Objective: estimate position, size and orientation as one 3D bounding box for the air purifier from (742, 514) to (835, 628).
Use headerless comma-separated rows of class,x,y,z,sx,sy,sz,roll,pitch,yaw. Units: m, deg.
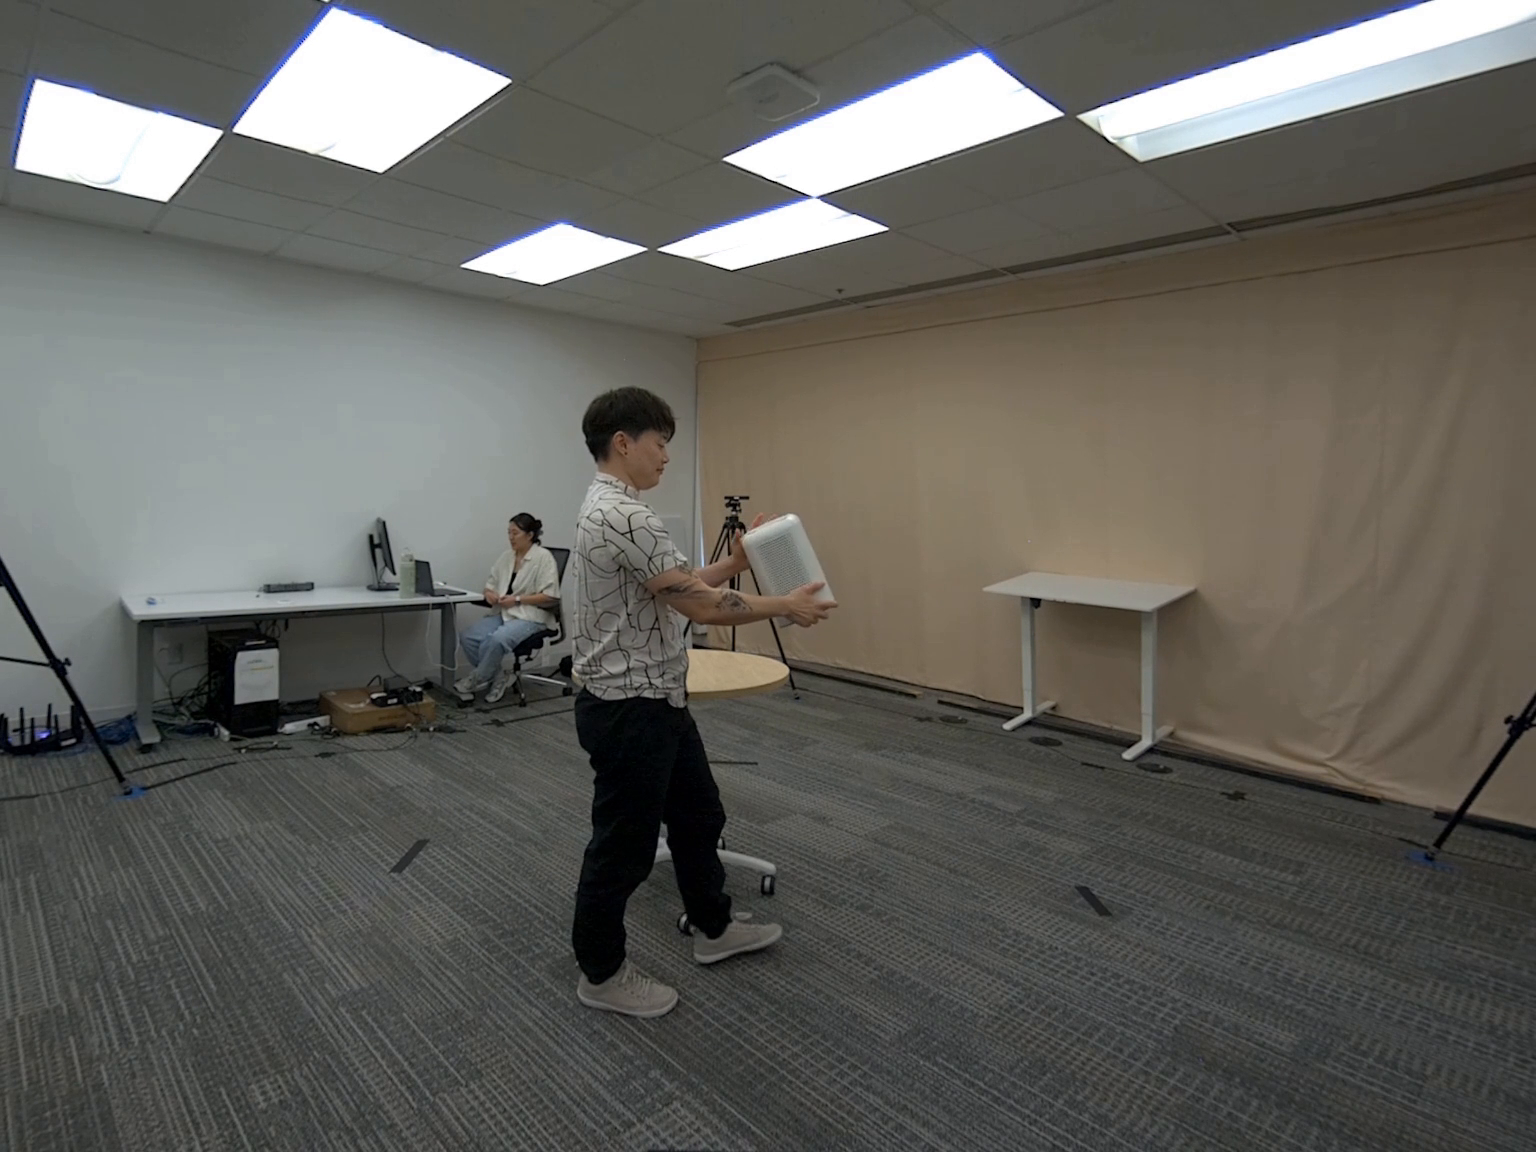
air purifier,0.047,-0.020,2.291,0.172,0.264,0.171,-21,5,4
